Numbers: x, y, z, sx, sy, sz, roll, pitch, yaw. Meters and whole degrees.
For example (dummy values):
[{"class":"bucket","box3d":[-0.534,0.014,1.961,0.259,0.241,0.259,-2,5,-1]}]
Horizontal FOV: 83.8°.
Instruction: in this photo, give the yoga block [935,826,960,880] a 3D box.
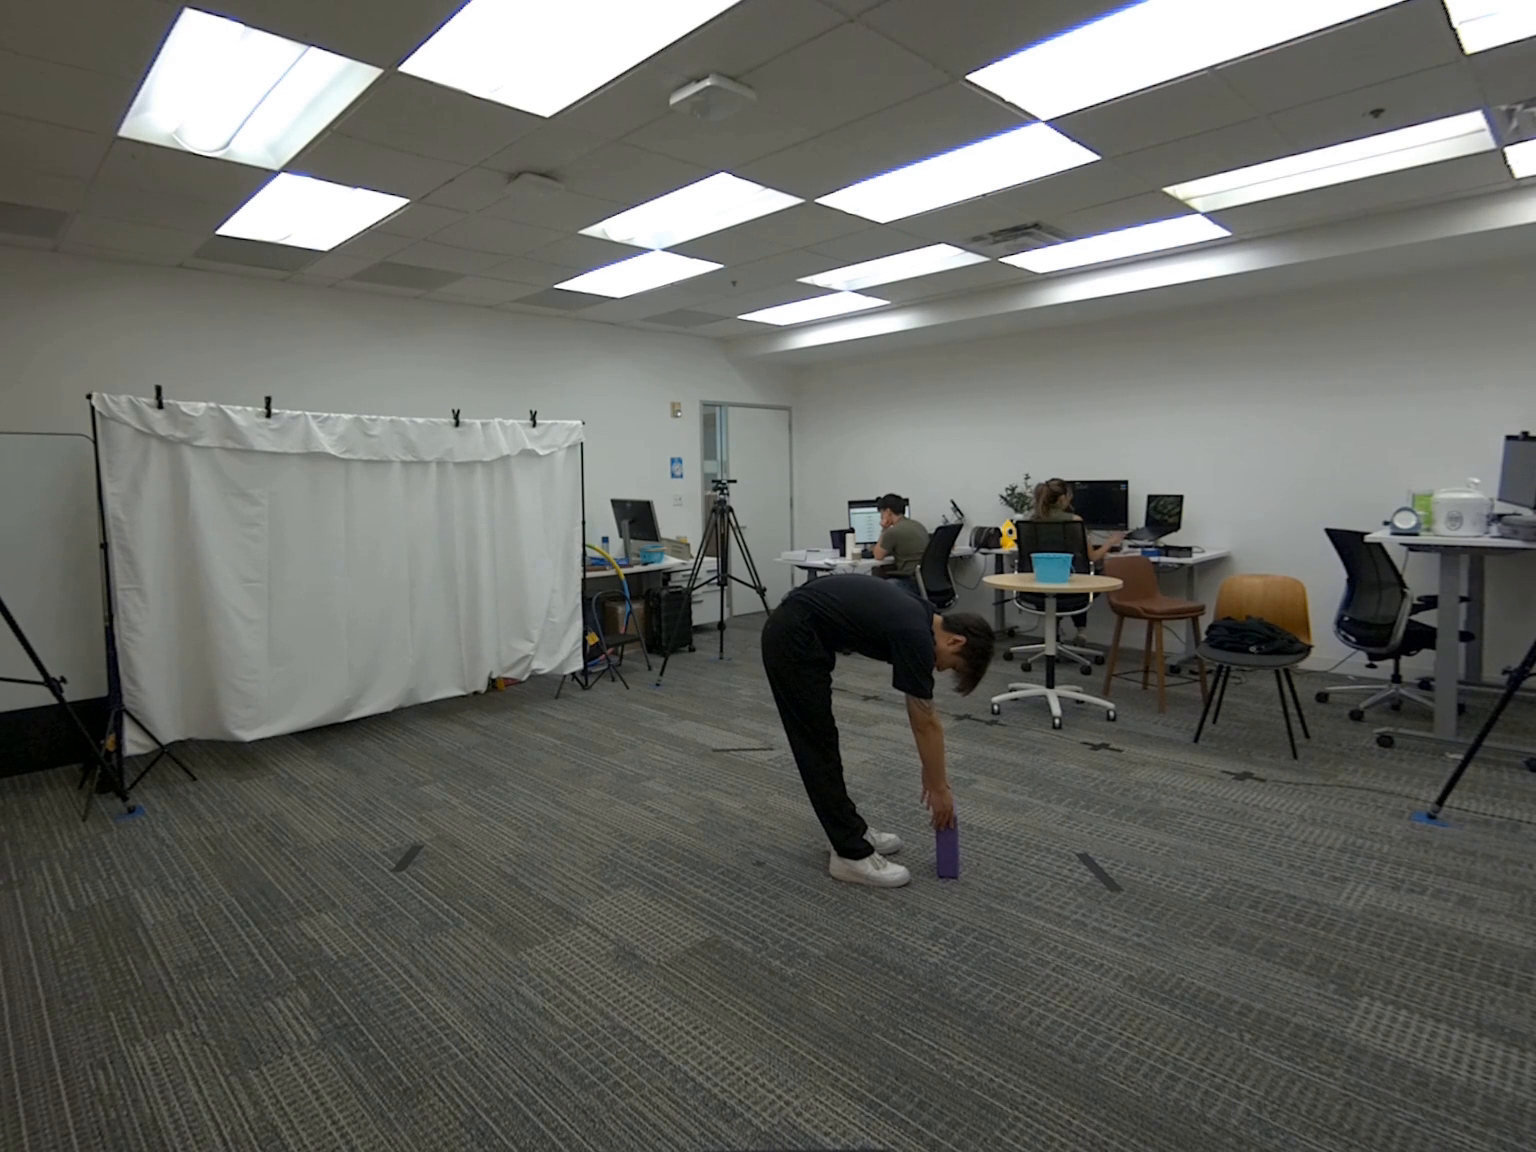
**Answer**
[{"class":"yoga block","box3d":[0.631,0.925,3.023,0.077,0.228,0.148,0,5,9]}]
